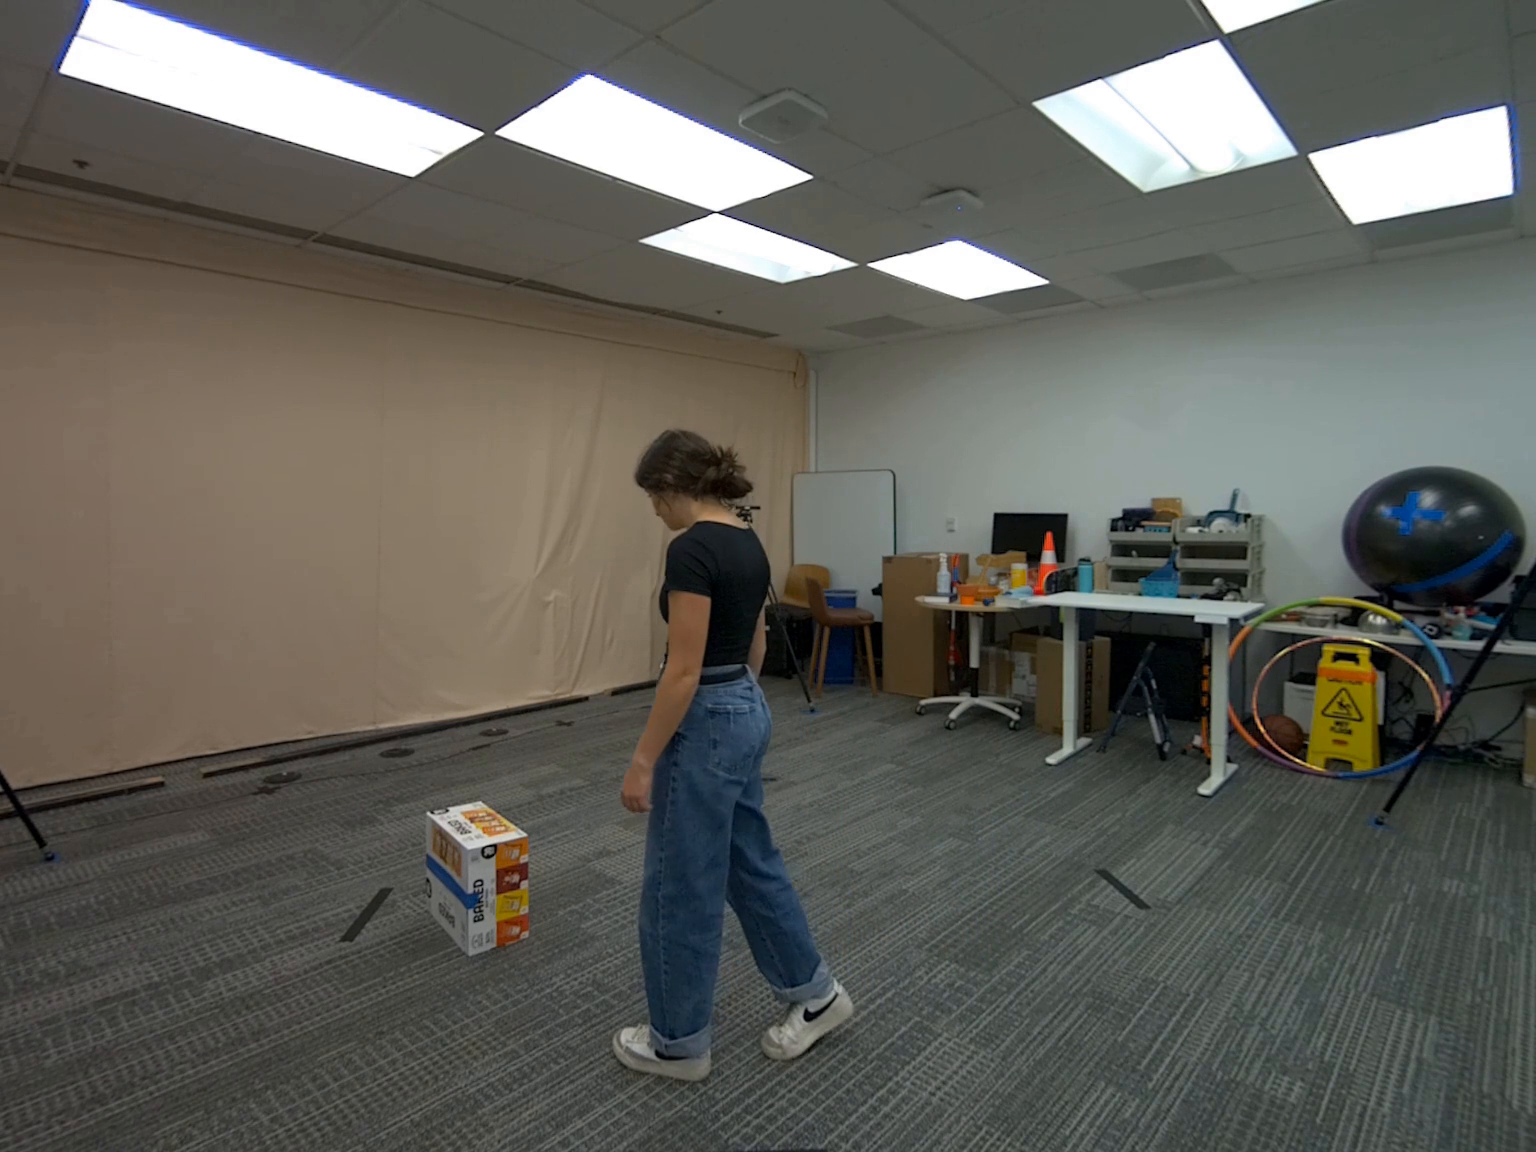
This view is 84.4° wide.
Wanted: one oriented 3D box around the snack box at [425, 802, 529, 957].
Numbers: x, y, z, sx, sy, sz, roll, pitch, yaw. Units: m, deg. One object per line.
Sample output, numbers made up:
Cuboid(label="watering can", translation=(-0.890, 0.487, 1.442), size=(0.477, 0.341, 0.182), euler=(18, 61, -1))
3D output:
Cuboid(label="snack box", translation=(-0.983, 0.997, 2.817), size=(0.199, 0.340, 0.418), euler=(-1, 3, -39))
